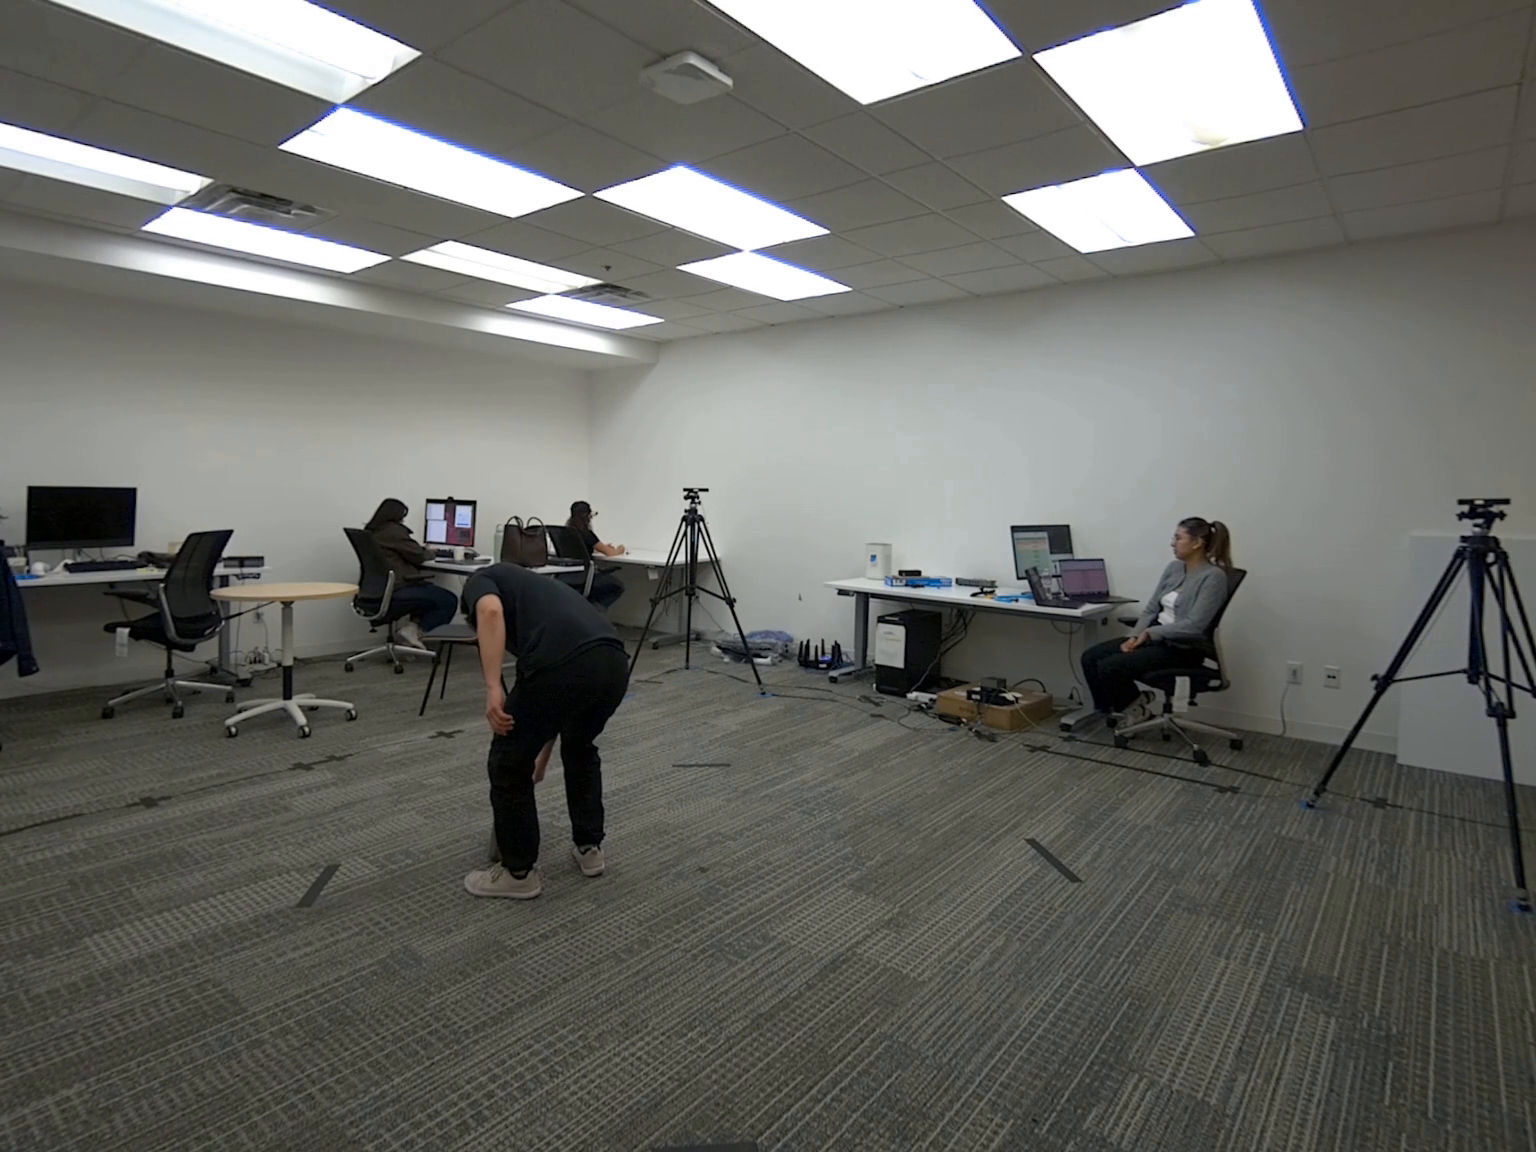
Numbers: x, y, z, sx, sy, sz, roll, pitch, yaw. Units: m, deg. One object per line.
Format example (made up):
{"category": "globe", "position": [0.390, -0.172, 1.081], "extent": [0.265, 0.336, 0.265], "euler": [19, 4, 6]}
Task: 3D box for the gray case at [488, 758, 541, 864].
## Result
{"category": "gray case", "position": [-0.990, 0.907, 3.243], "extent": [0.103, 0.260, 0.260], "euler": [7, 2, -10]}
